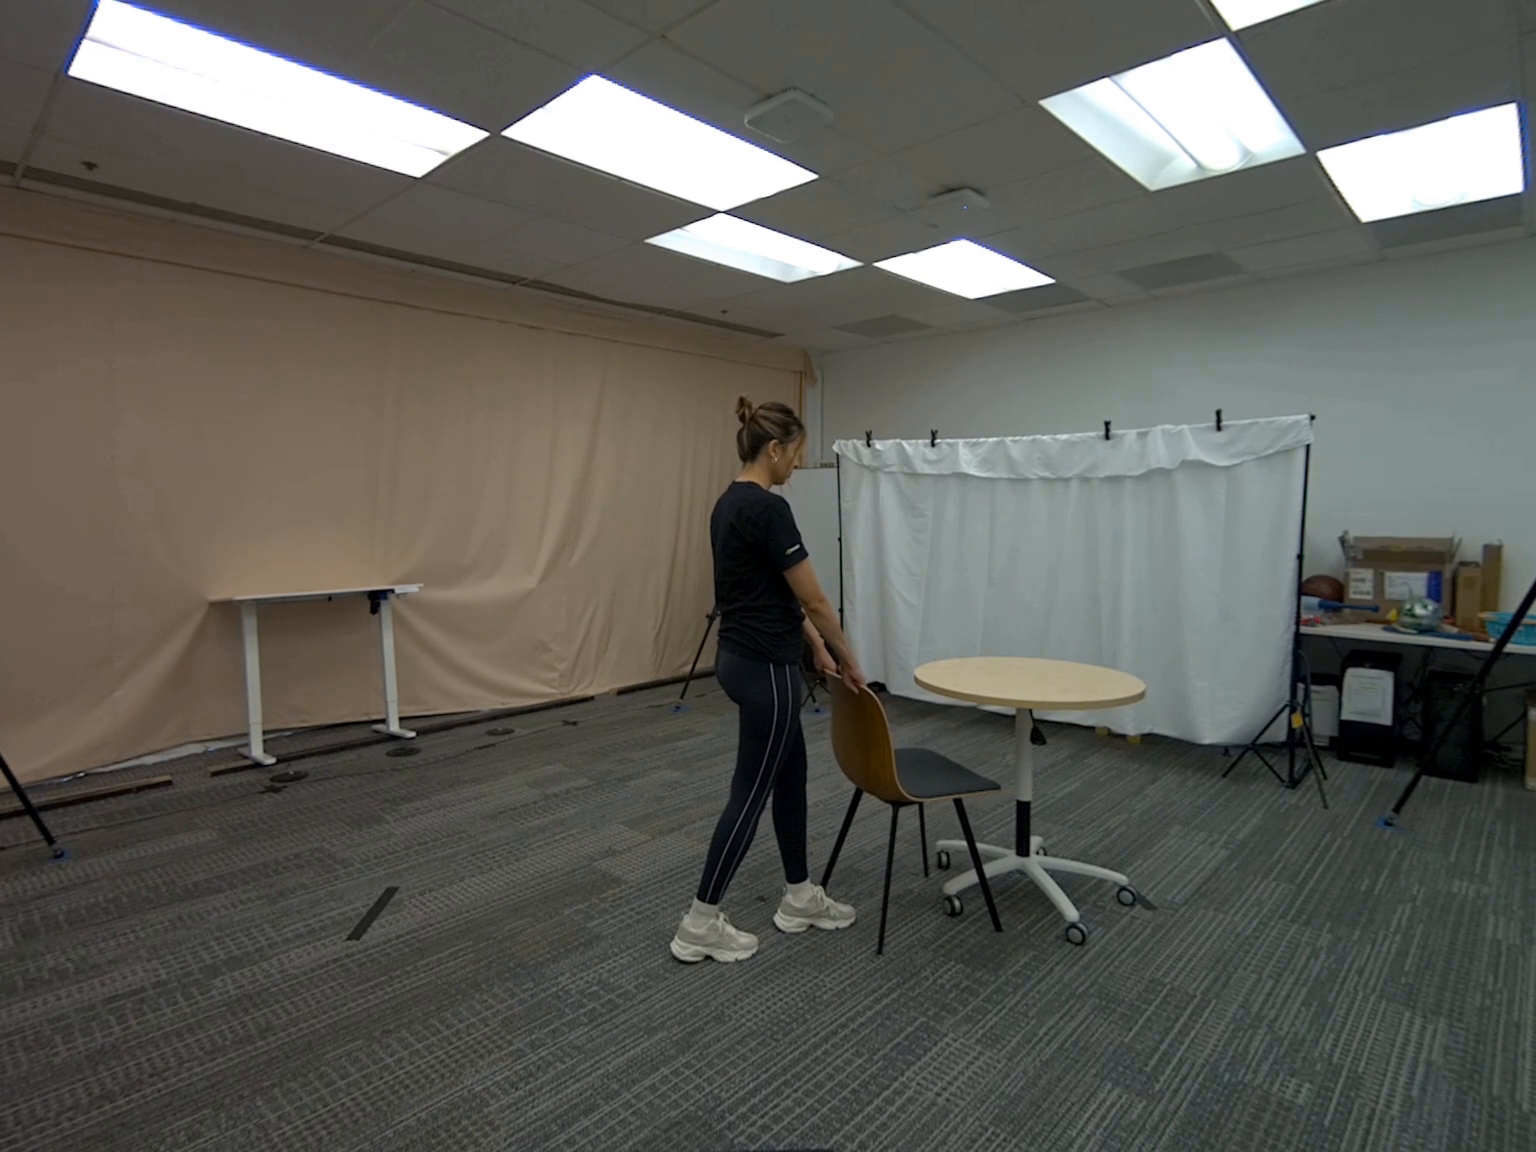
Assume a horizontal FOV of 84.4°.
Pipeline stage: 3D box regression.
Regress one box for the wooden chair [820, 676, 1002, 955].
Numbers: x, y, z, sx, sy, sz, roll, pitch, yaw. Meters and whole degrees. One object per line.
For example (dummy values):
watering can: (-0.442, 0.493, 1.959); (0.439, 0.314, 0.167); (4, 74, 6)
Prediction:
wooden chair: (0.481, 0.726, 2.858); (0.514, 0.875, 0.488); (-6, 5, -19)
